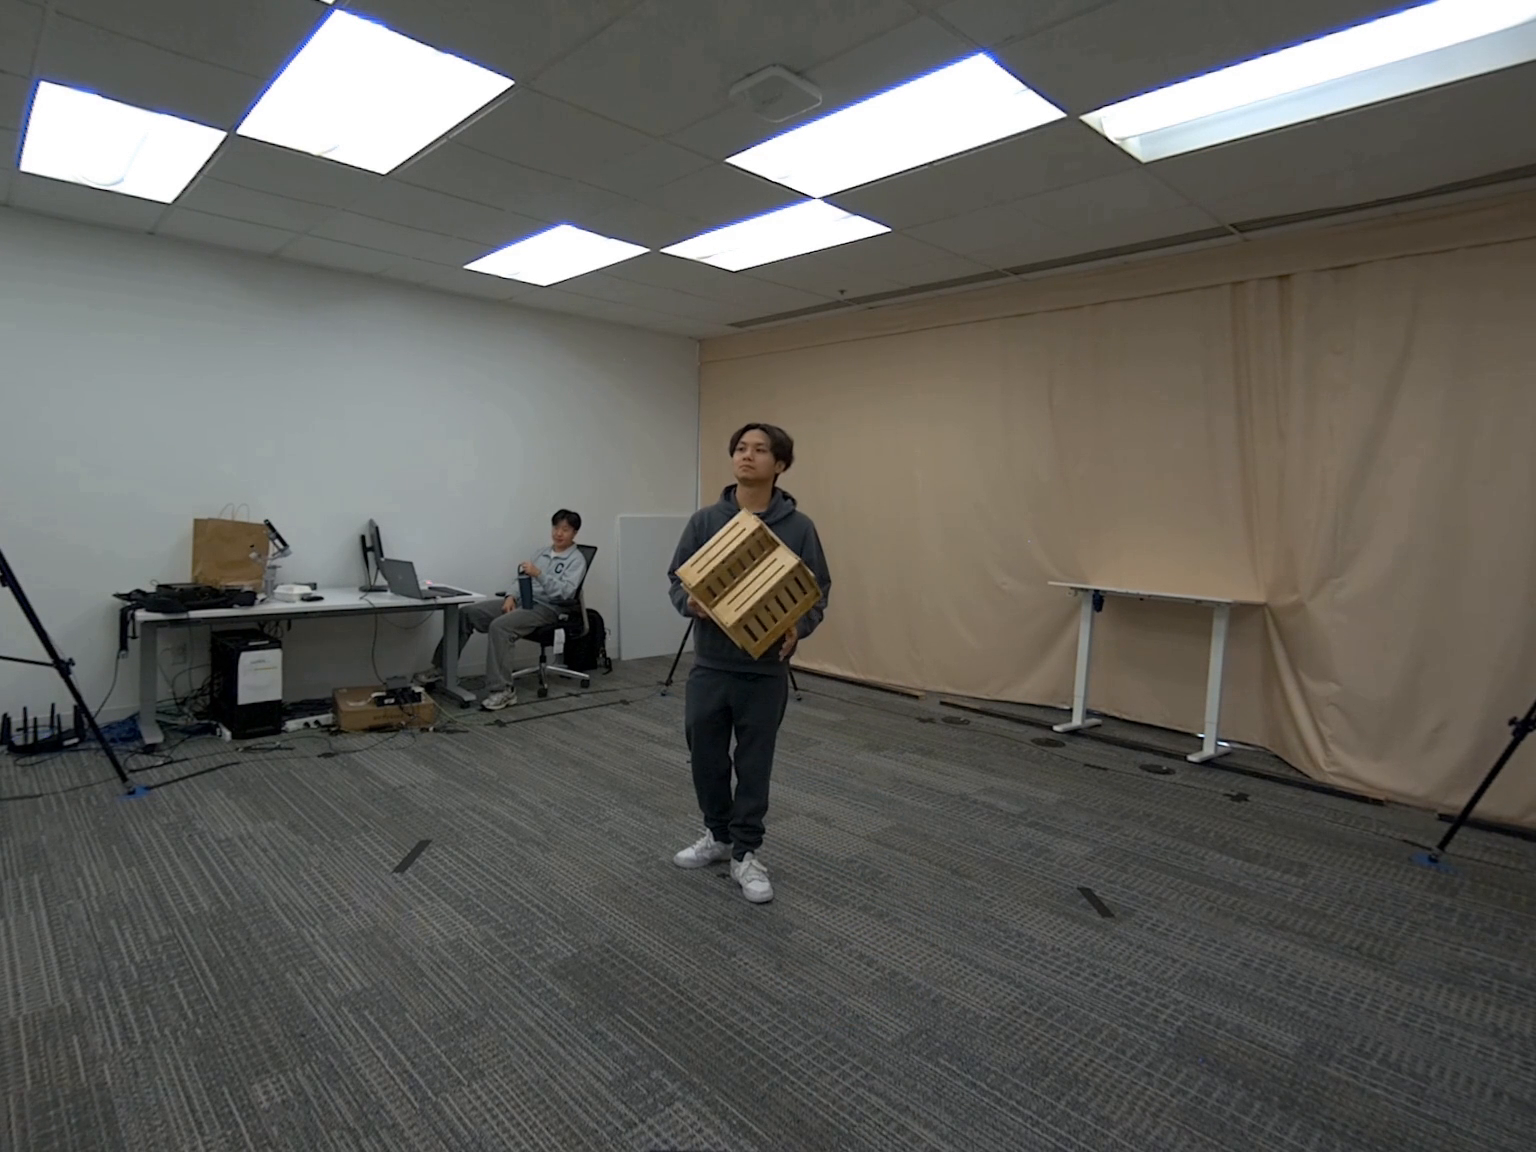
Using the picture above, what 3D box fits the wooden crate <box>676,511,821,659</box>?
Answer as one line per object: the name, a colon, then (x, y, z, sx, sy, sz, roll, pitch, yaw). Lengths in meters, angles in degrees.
wooden crate: (-0.065, 0.030, 2.669, 0.282, 0.324, 0.293, 43, -8, 37)
